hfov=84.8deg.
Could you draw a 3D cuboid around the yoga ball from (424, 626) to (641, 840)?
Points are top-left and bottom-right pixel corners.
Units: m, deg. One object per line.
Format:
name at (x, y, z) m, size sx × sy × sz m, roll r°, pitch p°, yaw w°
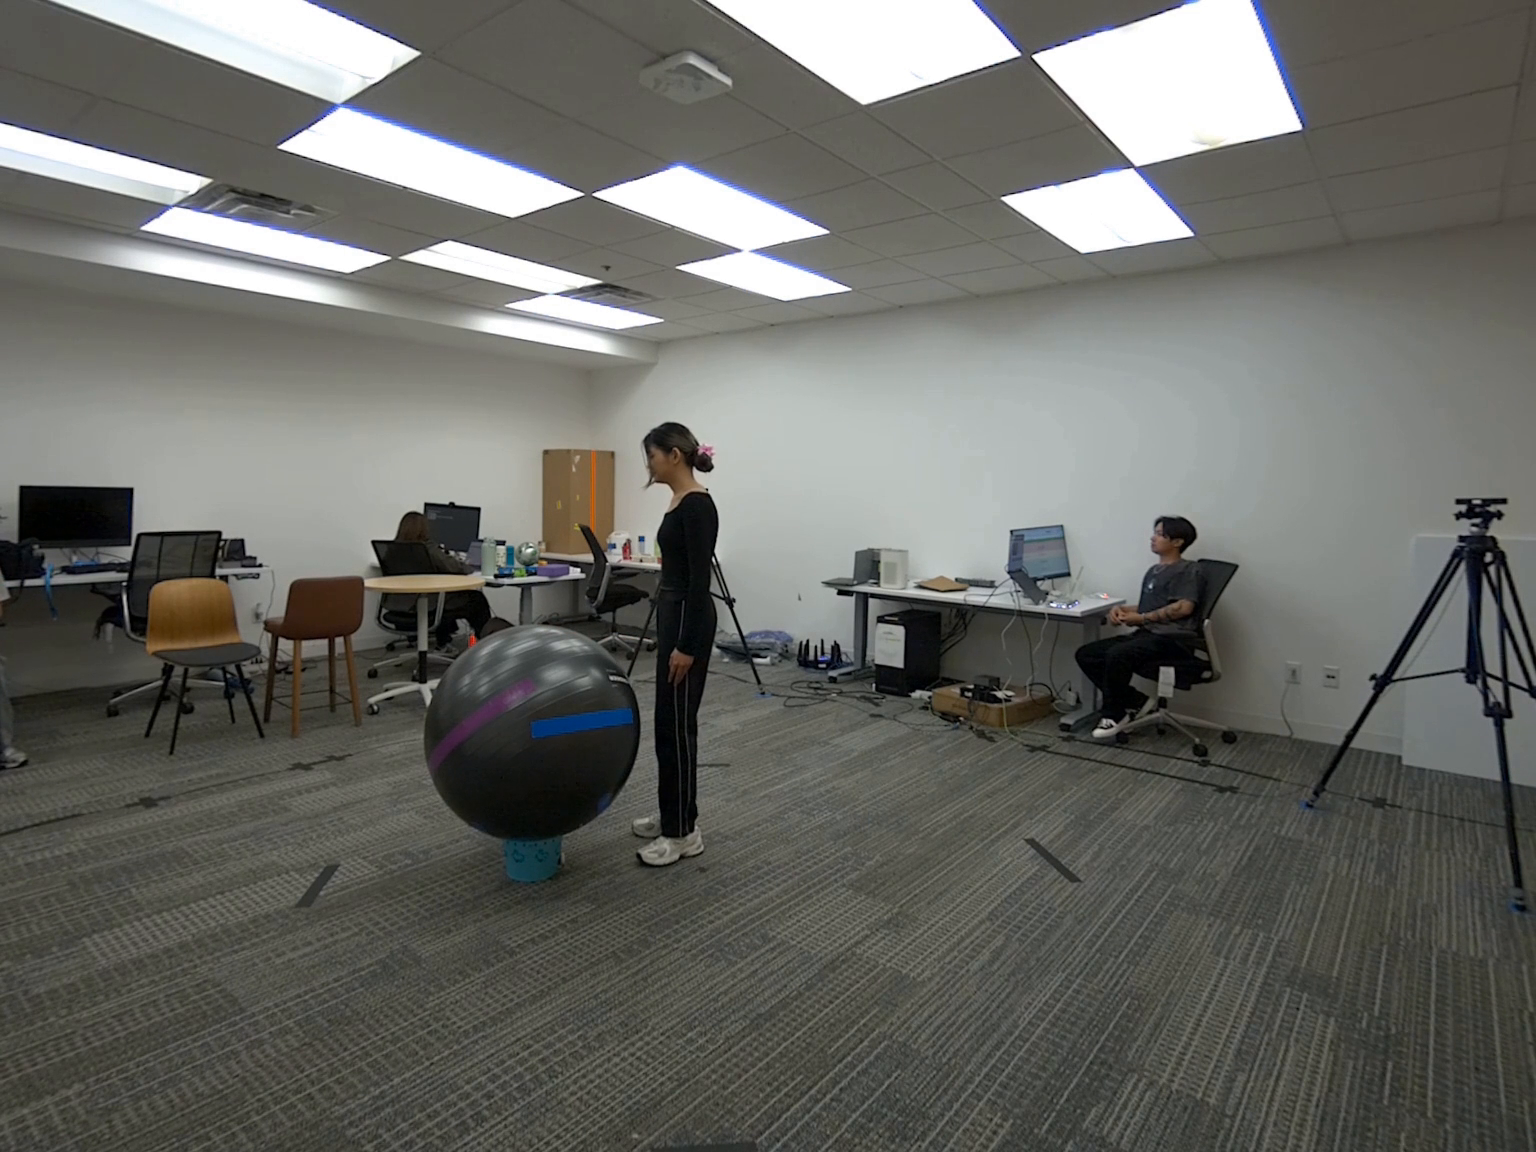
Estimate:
yoga ball at (-0.859, 0.557, 3.048) m, size 0.757 × 0.756 × 0.762 m, roll 1°, pitch 4°, yaw -2°
